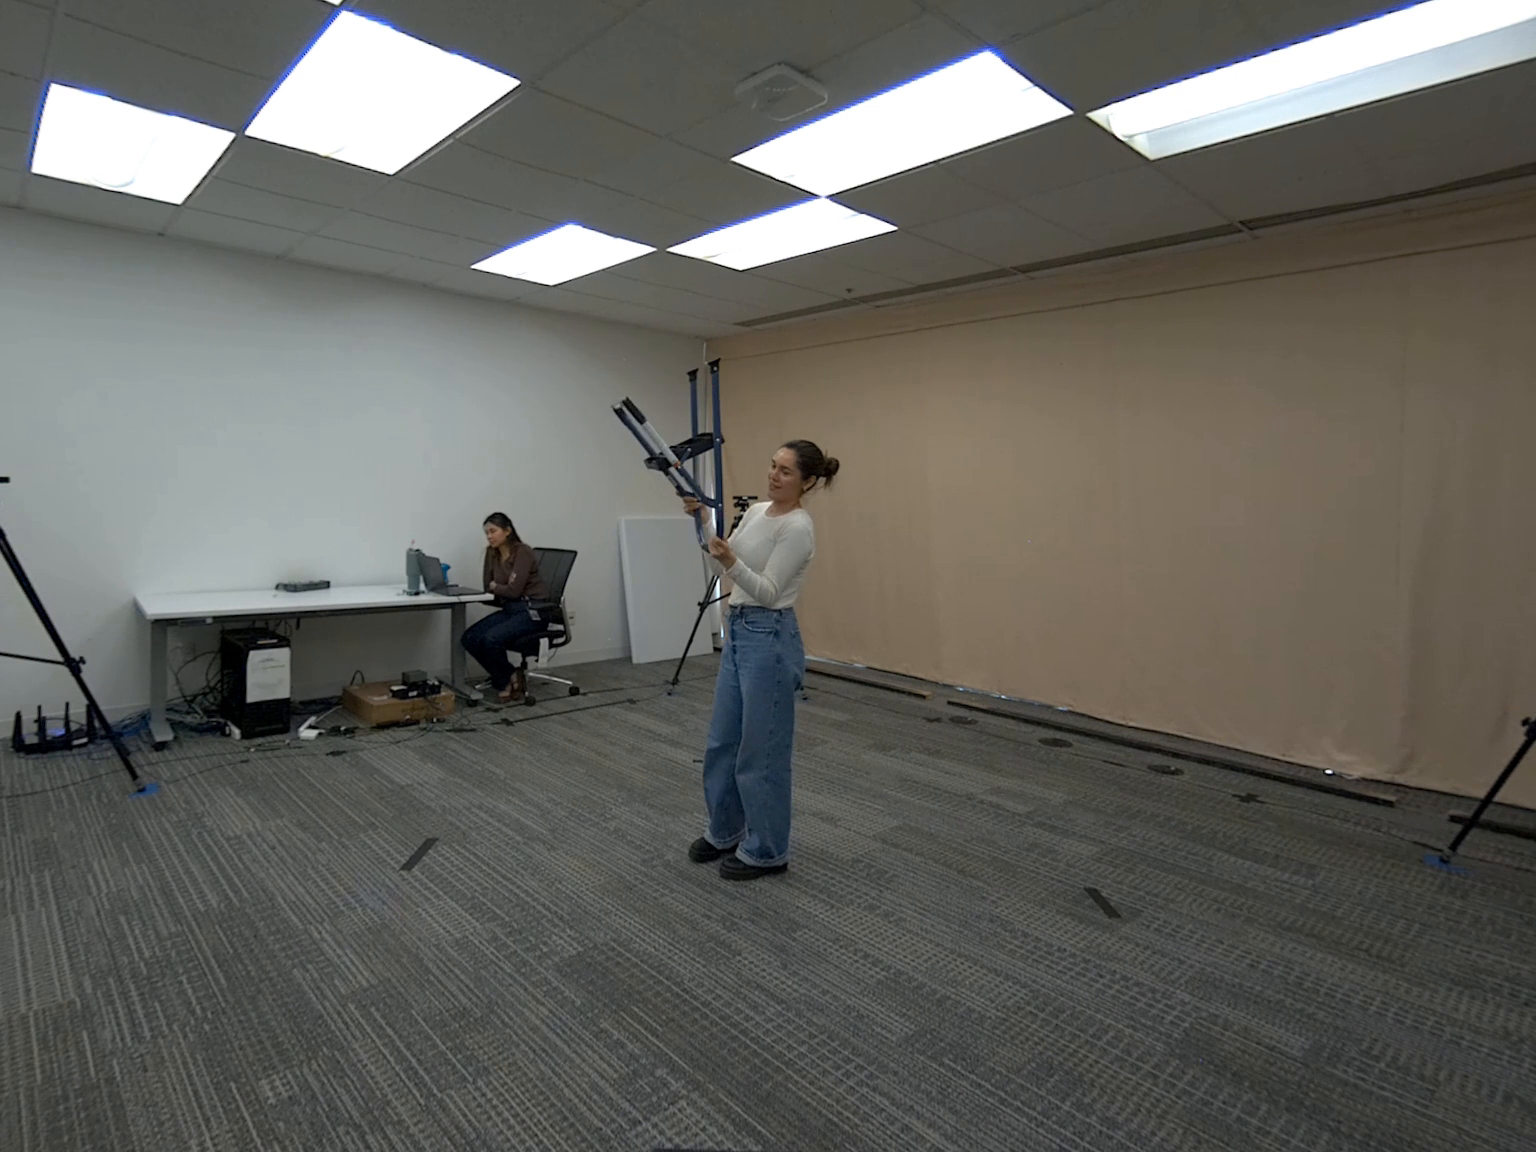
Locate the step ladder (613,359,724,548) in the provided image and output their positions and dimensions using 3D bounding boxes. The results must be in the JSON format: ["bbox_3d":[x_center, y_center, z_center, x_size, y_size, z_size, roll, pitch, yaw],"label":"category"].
[{"bbox_3d":[-0.258,-0.390,2.927,0.348,0.599,0.437,-25,12,-9],"label":"step ladder"}]
